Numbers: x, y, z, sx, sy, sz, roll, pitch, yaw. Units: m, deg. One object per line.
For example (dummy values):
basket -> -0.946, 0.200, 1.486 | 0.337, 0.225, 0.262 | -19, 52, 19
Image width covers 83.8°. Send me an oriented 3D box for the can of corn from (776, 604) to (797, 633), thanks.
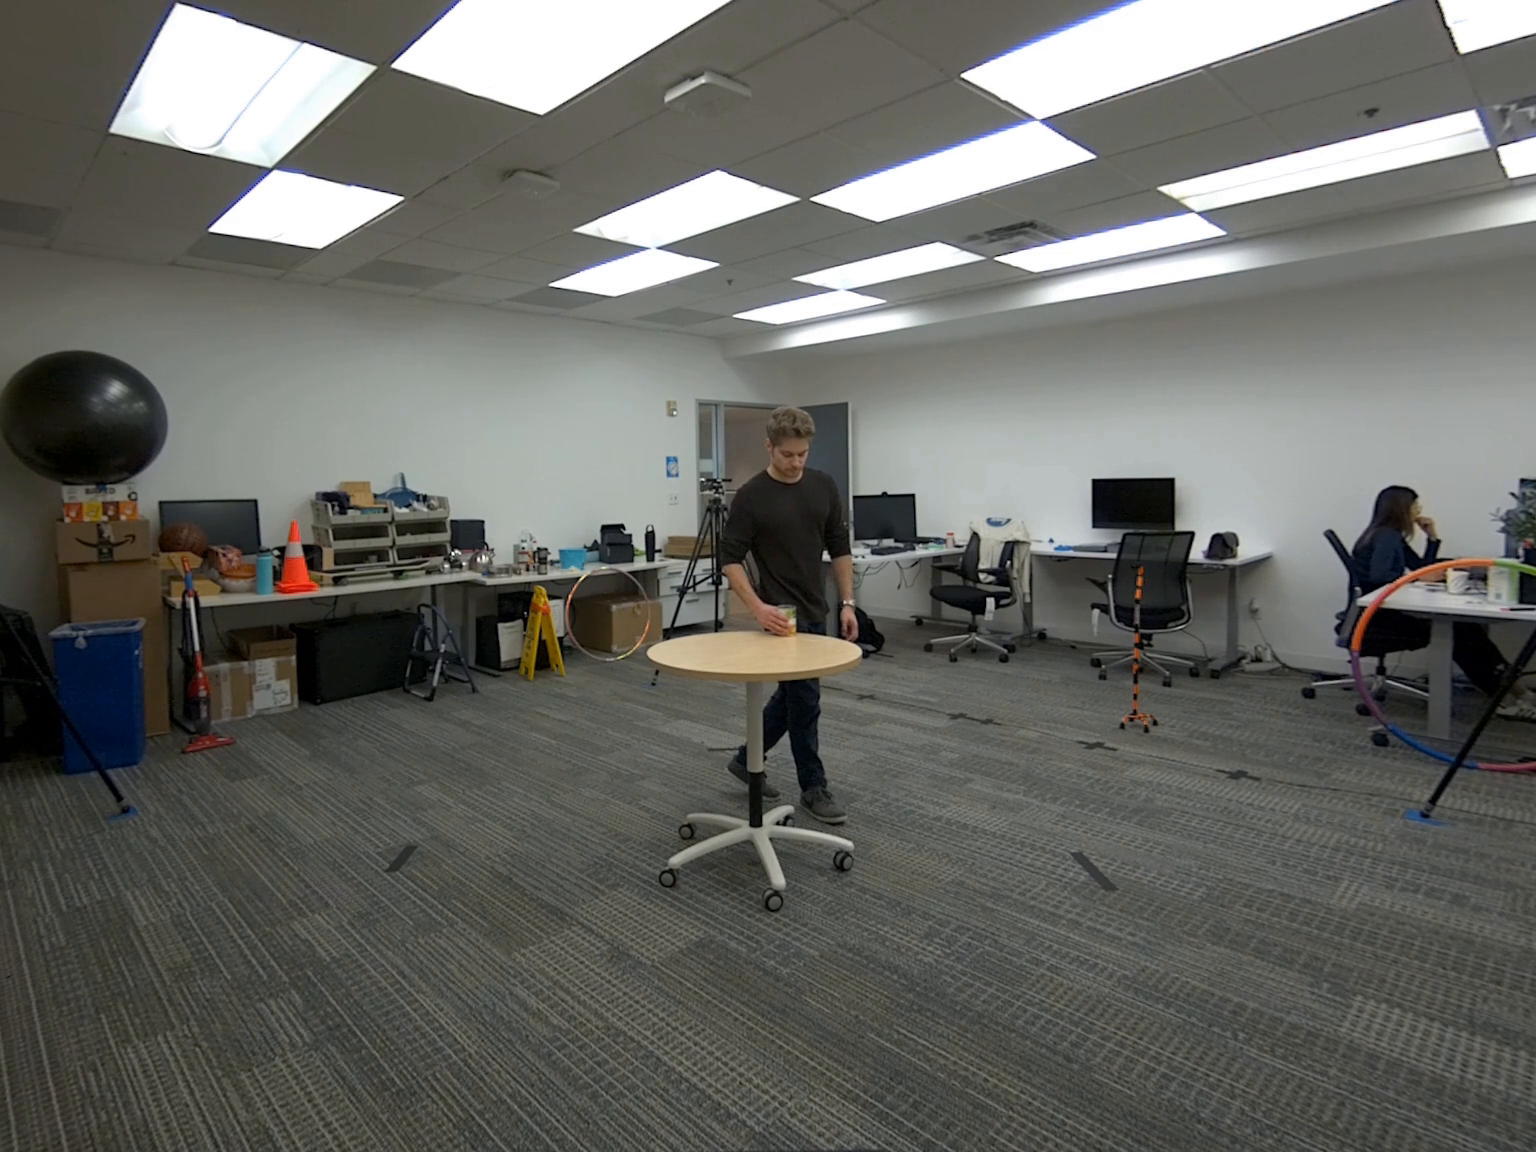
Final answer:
can of corn -> 0.064, 0.178, 3.349 | 0.074, 0.111, 0.074 | -2, 2, -2
